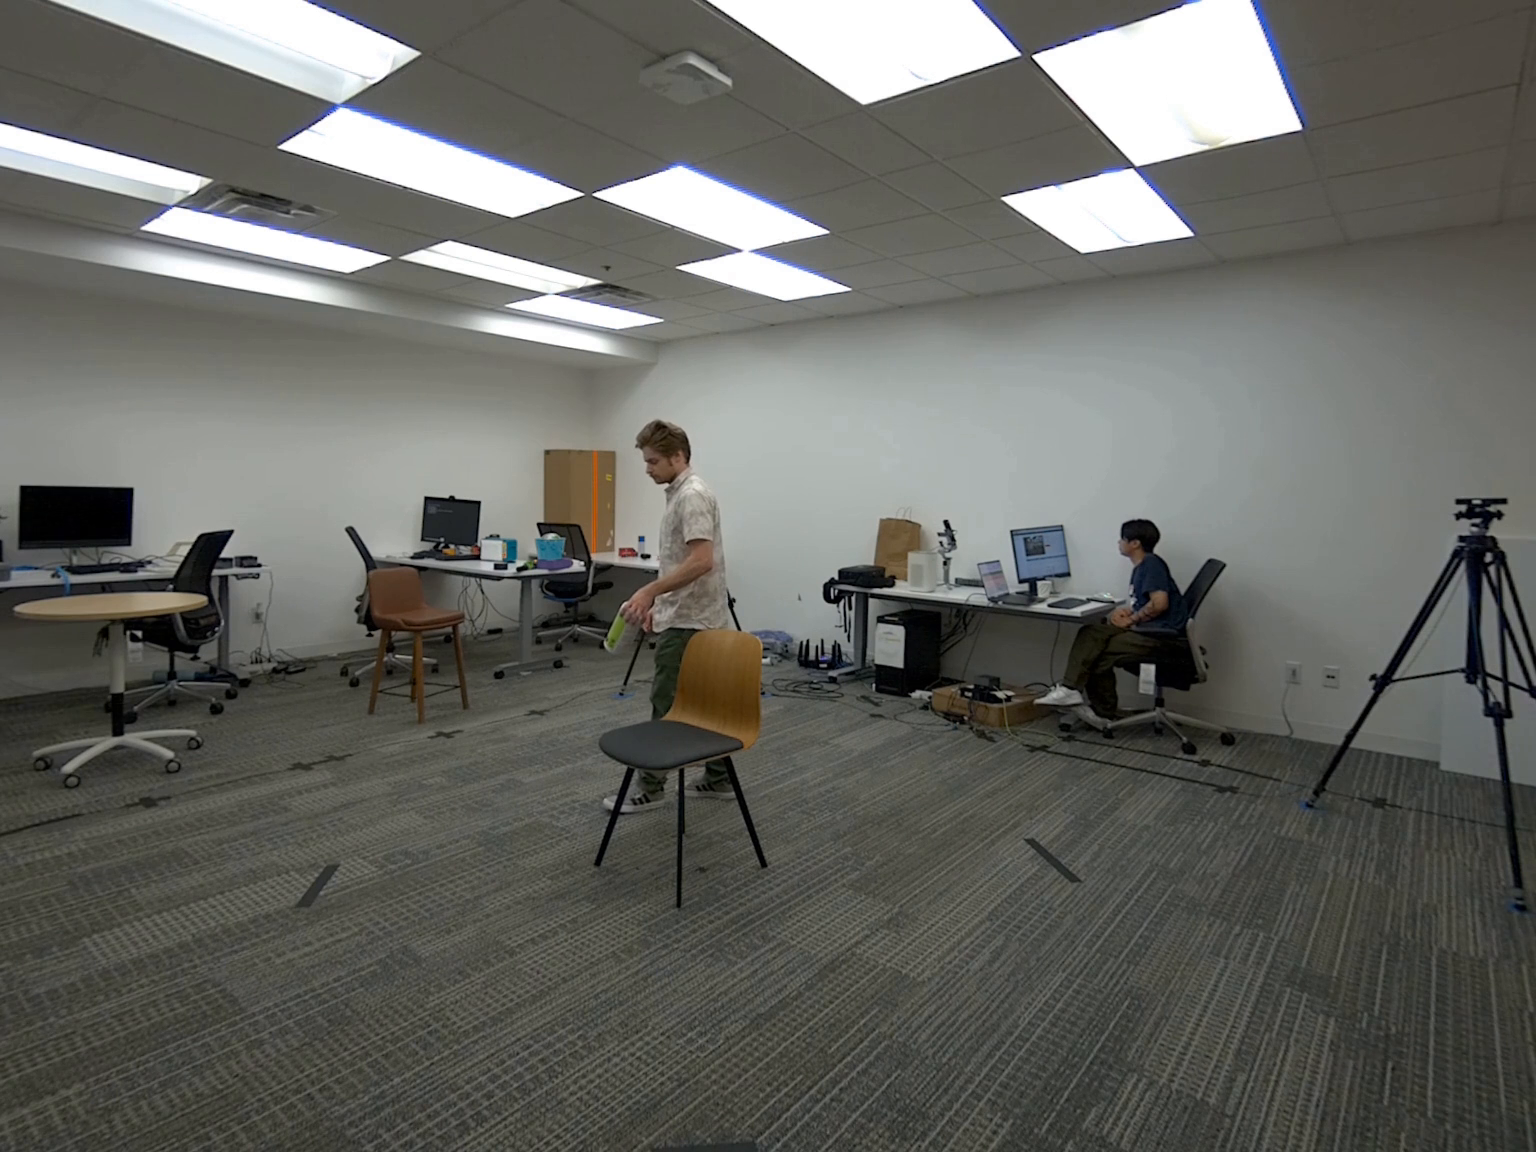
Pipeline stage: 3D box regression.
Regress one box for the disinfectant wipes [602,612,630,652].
[{"bbox_3d":[-0.626,0.225,3.580,0.116,0.216,0.120,23,20,-11],"label":"disinfectant wipes"}]
